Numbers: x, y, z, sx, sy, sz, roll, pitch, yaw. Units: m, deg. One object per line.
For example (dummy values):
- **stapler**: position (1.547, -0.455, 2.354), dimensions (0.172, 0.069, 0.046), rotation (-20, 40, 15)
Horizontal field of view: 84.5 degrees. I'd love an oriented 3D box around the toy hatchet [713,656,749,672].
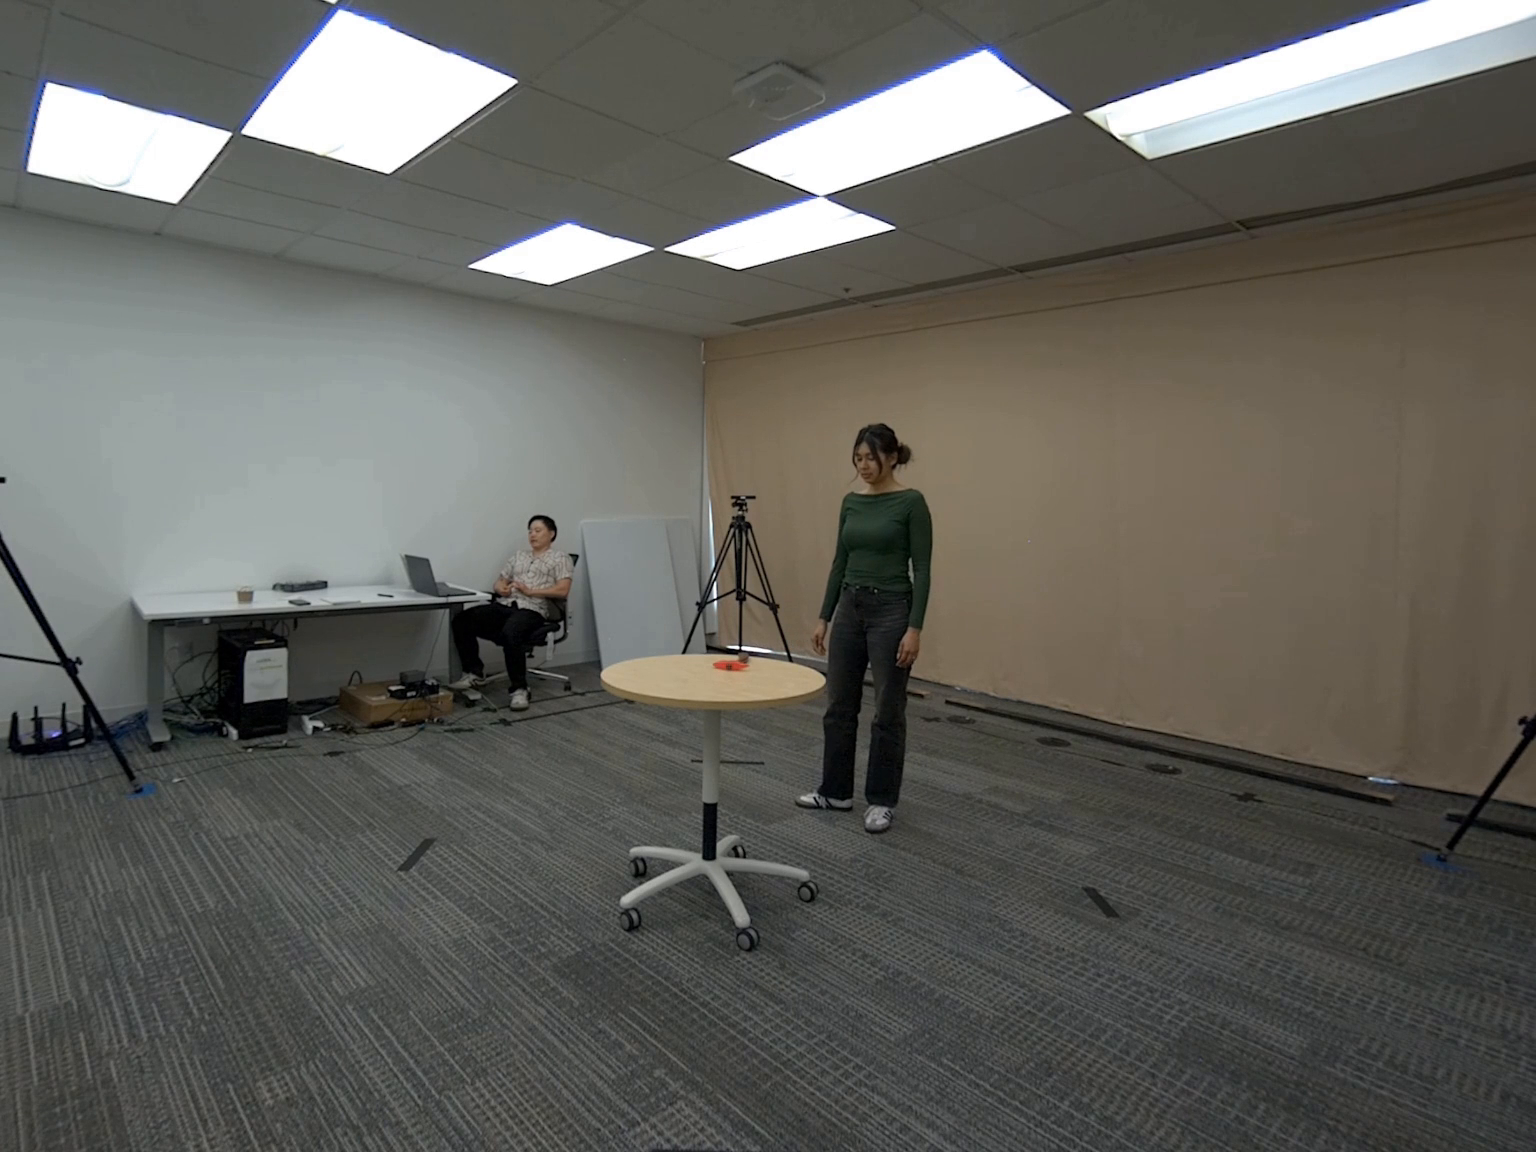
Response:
- **toy hatchet**: position (-0.139, 0.311, 3.083), dimensions (0.131, 0.029, 0.271), rotation (-1, 4, -2)
